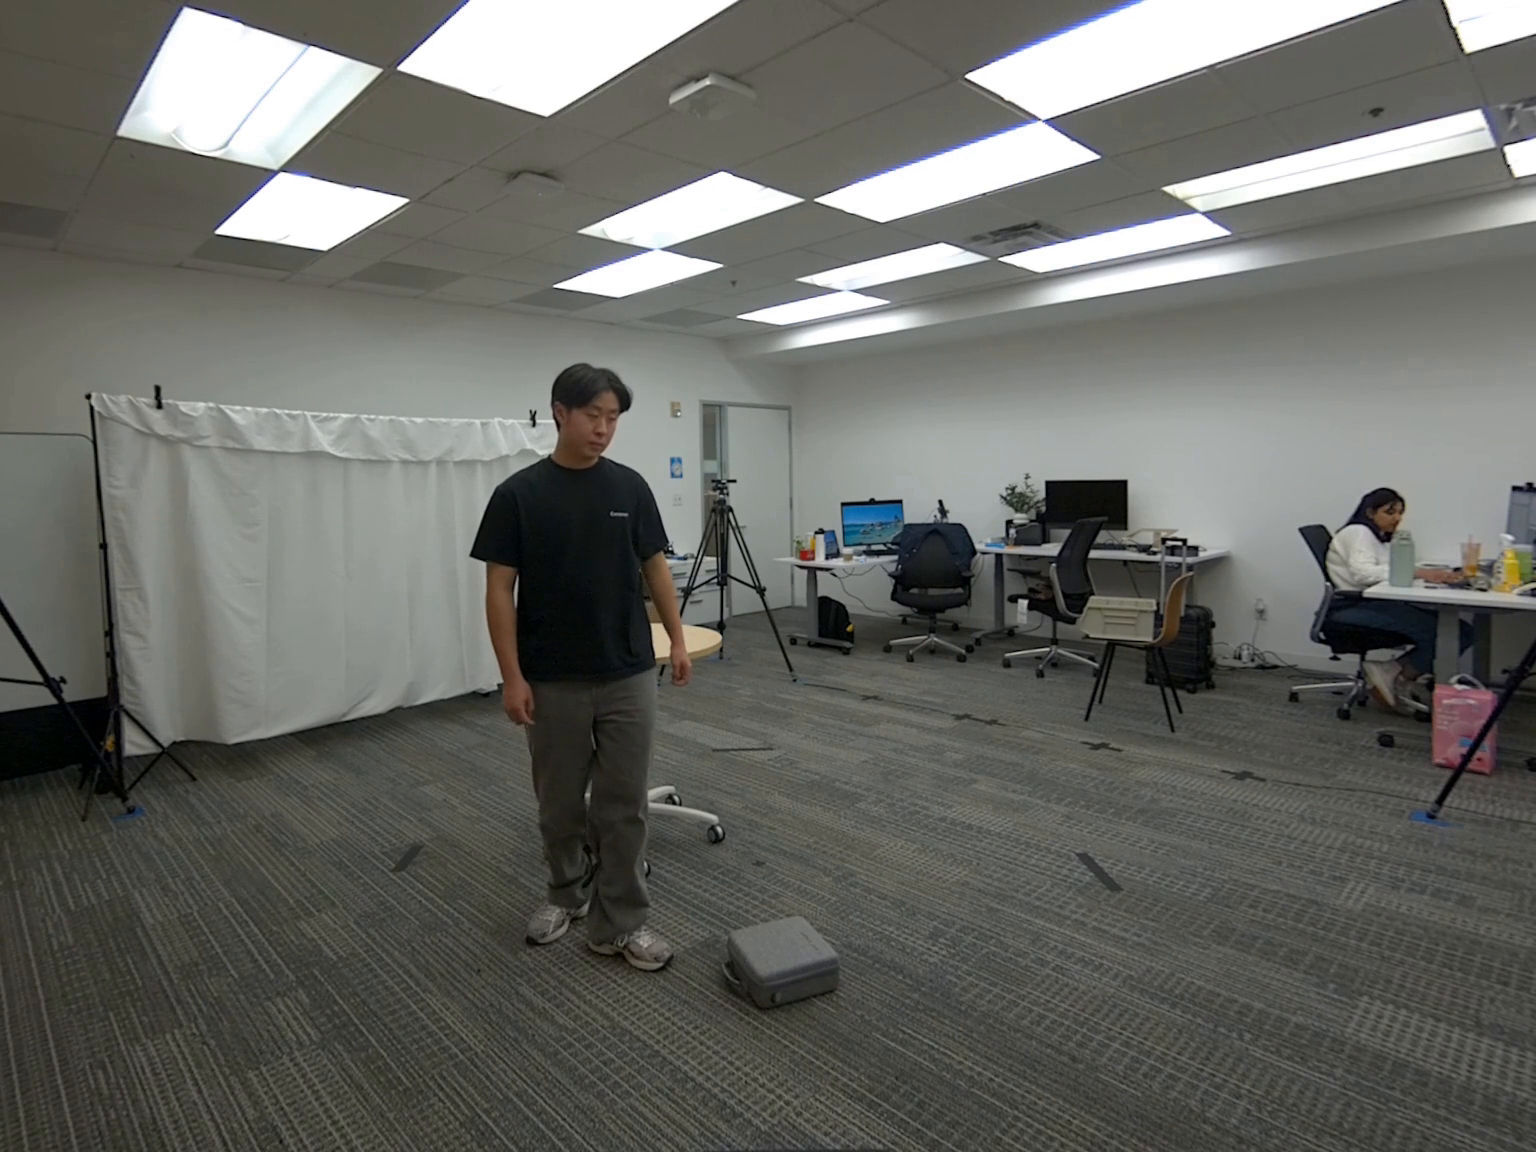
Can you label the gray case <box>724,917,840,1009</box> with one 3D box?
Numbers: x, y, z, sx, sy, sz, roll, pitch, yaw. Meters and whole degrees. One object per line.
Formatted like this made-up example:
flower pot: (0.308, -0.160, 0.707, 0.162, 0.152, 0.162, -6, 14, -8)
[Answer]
gray case: (0.035, 1.075, 2.387, 0.282, 0.102, 0.269, -5, 6, -22)
